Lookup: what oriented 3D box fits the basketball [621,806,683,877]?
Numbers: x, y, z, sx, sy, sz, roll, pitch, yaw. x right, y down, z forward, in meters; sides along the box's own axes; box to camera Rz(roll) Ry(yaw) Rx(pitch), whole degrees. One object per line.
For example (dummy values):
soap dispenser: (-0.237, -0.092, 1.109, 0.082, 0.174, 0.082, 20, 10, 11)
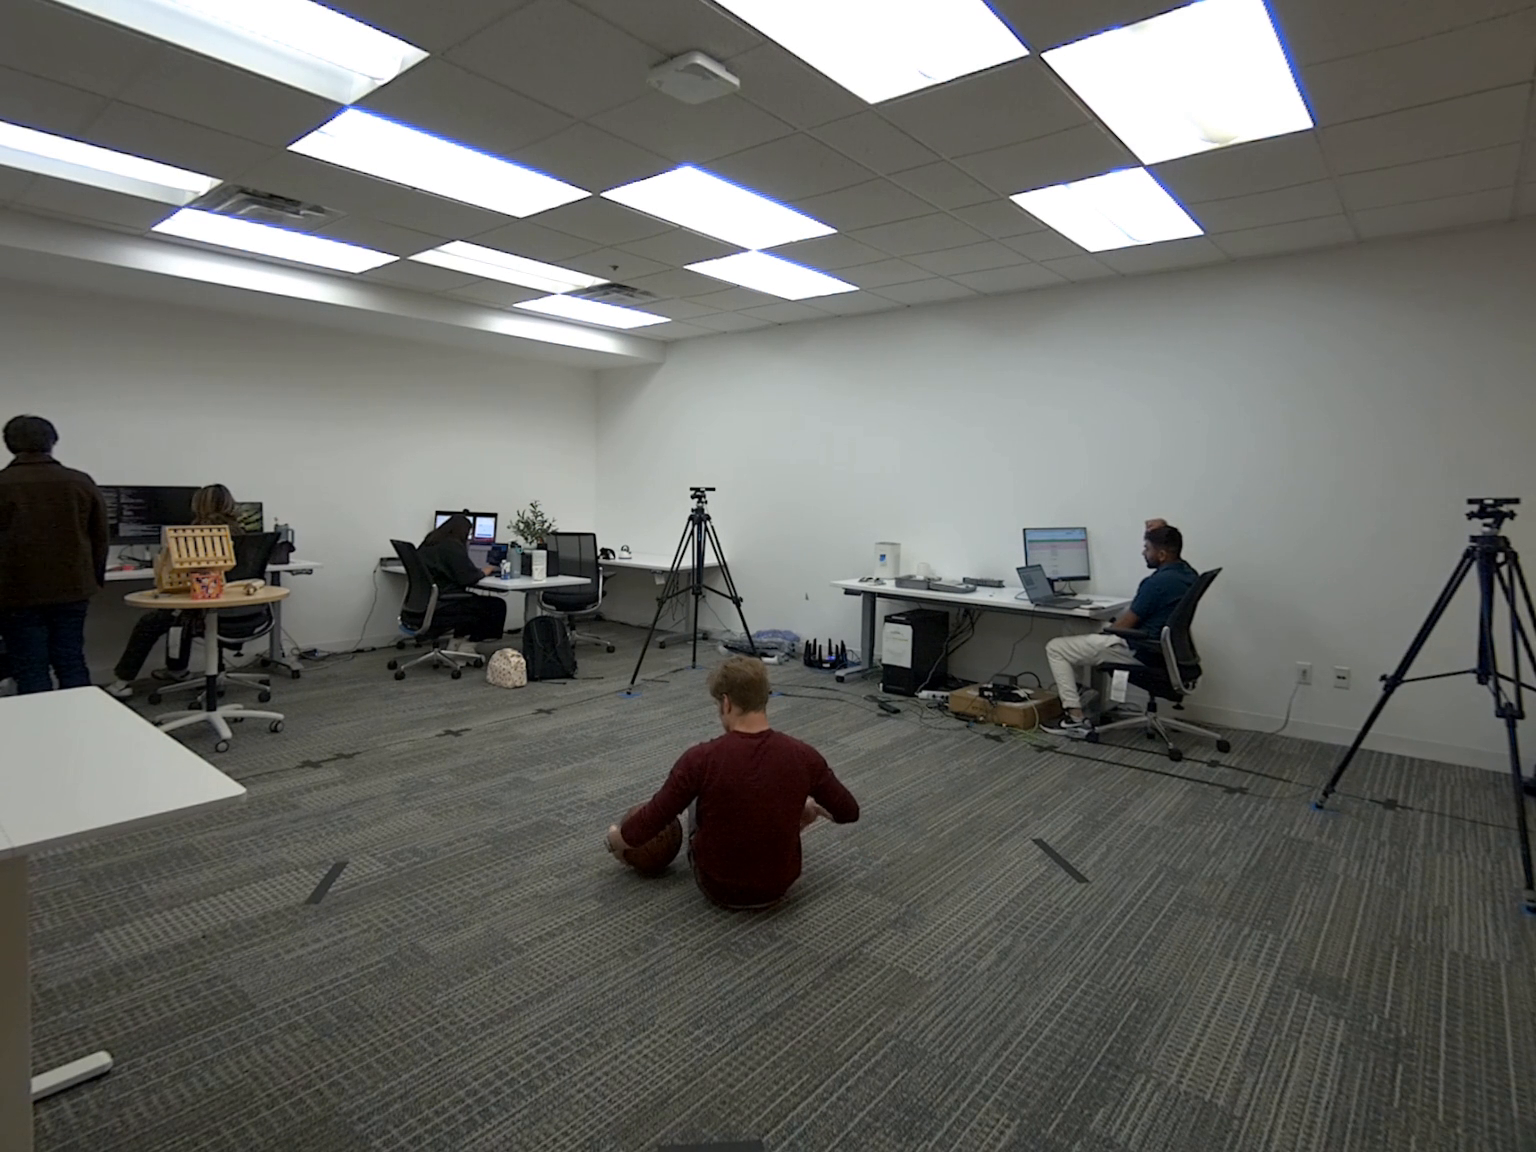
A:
basketball: (-0.434, 0.940, 3.103, 0.235, 0.235, 0.237, 1, 4, -2)
